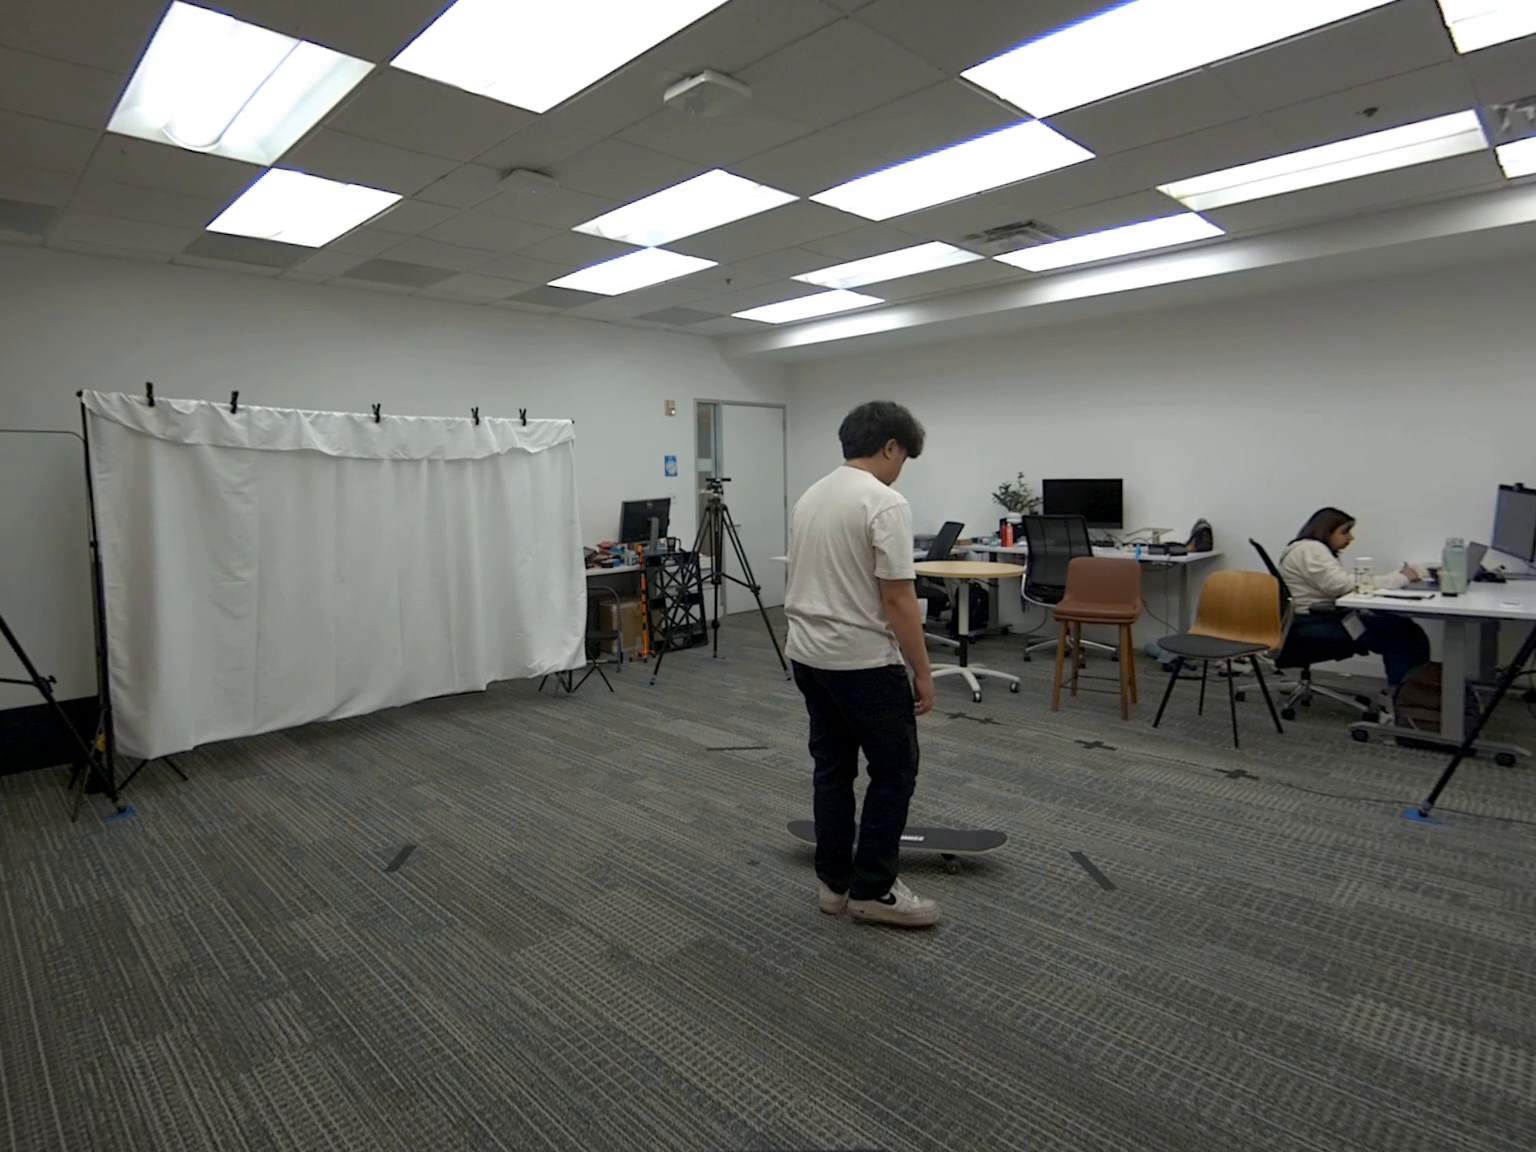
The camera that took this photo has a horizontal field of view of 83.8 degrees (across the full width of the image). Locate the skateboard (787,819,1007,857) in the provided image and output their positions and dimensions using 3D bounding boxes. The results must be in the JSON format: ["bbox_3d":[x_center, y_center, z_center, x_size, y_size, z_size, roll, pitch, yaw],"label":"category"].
[{"bbox_3d":[0.458,0.975,3.100,0.793,0.110,0.192,0,5,10],"label":"skateboard"}]
